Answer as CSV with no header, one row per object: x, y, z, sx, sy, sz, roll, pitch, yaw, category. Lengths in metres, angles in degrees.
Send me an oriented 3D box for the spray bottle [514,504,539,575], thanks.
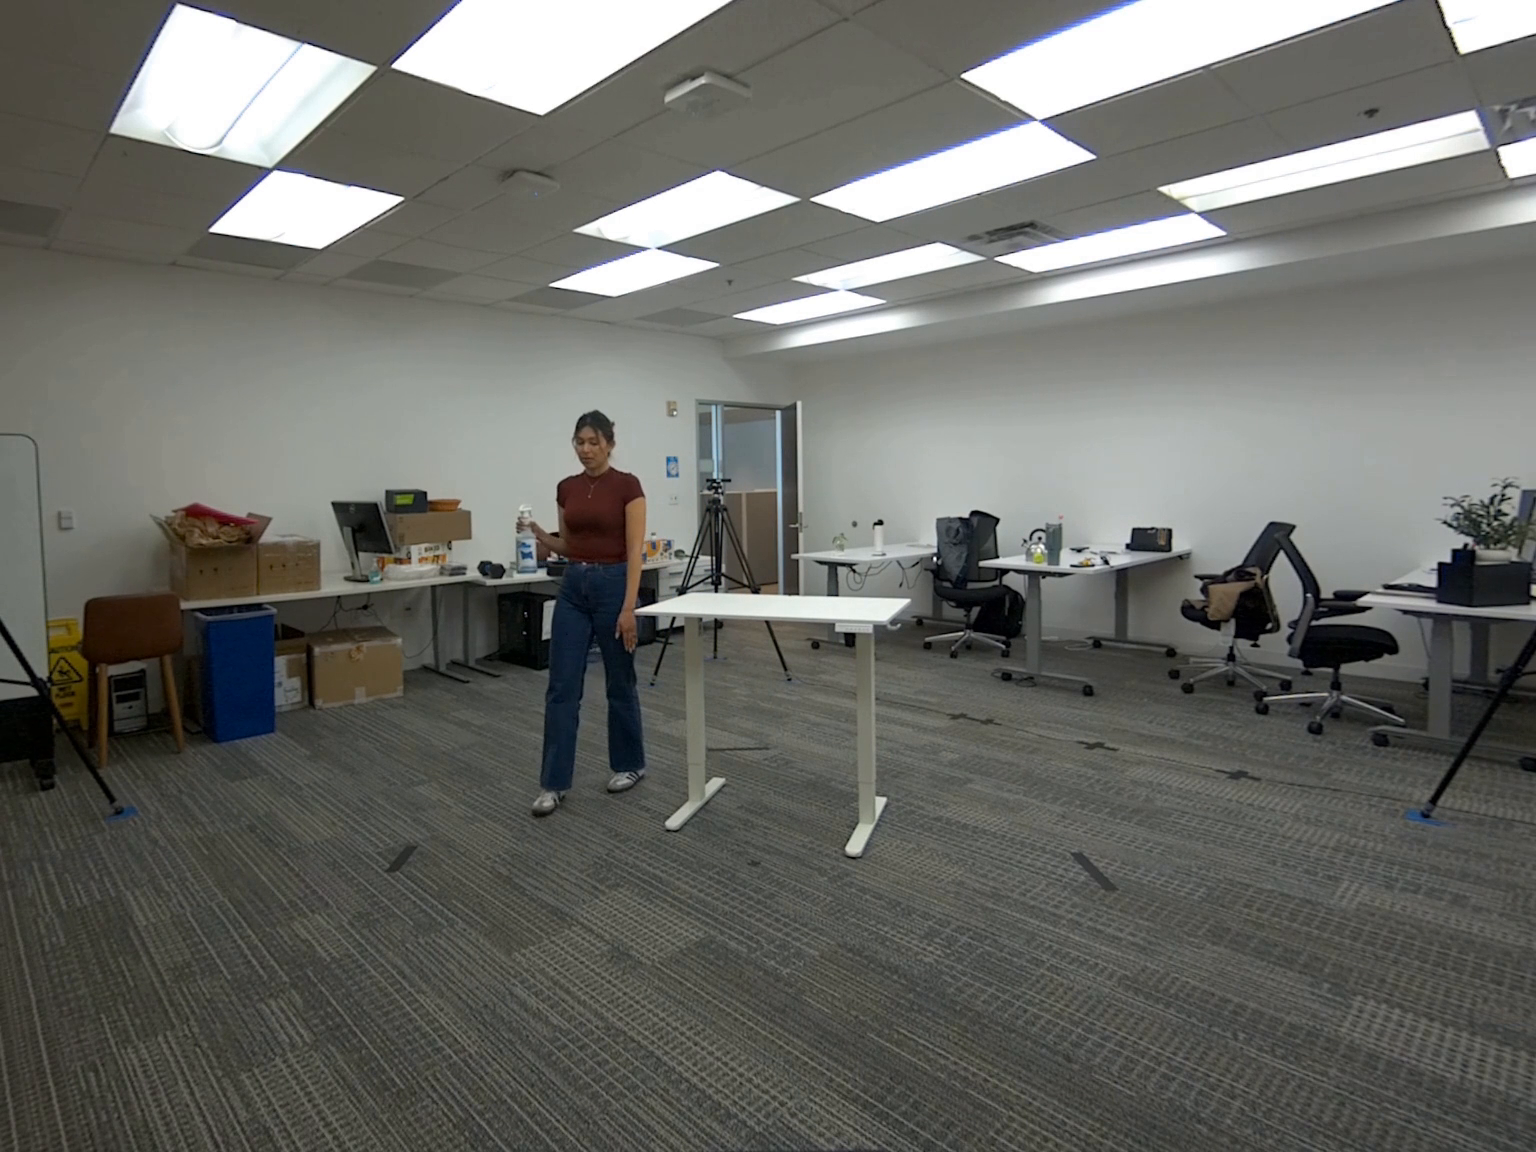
-1.046,-0.158,3.666,0.089,0.298,0.087,-1,-1,43,spray bottle
